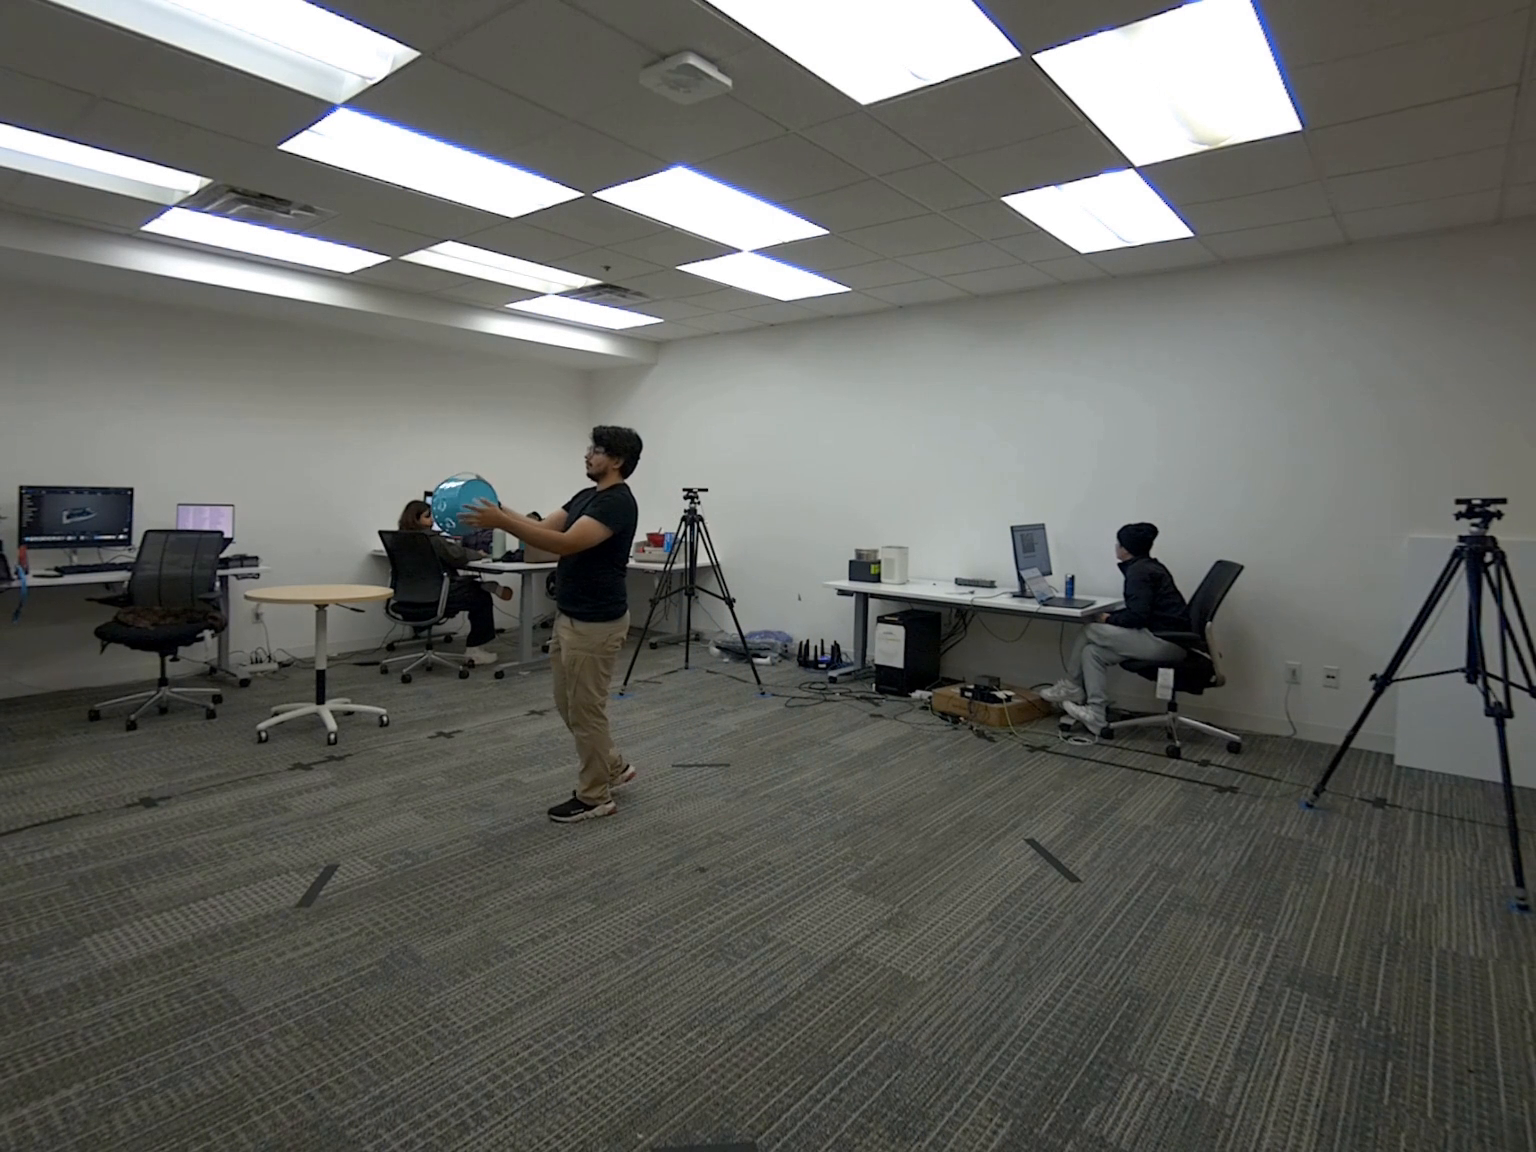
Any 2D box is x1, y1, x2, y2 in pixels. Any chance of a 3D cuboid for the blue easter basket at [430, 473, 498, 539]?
[{"bbox_3d":[-1.192,-0.286,3.326,0.160,0.244,0.236,-7,-2,38],"label":"blue easter basket"}]
